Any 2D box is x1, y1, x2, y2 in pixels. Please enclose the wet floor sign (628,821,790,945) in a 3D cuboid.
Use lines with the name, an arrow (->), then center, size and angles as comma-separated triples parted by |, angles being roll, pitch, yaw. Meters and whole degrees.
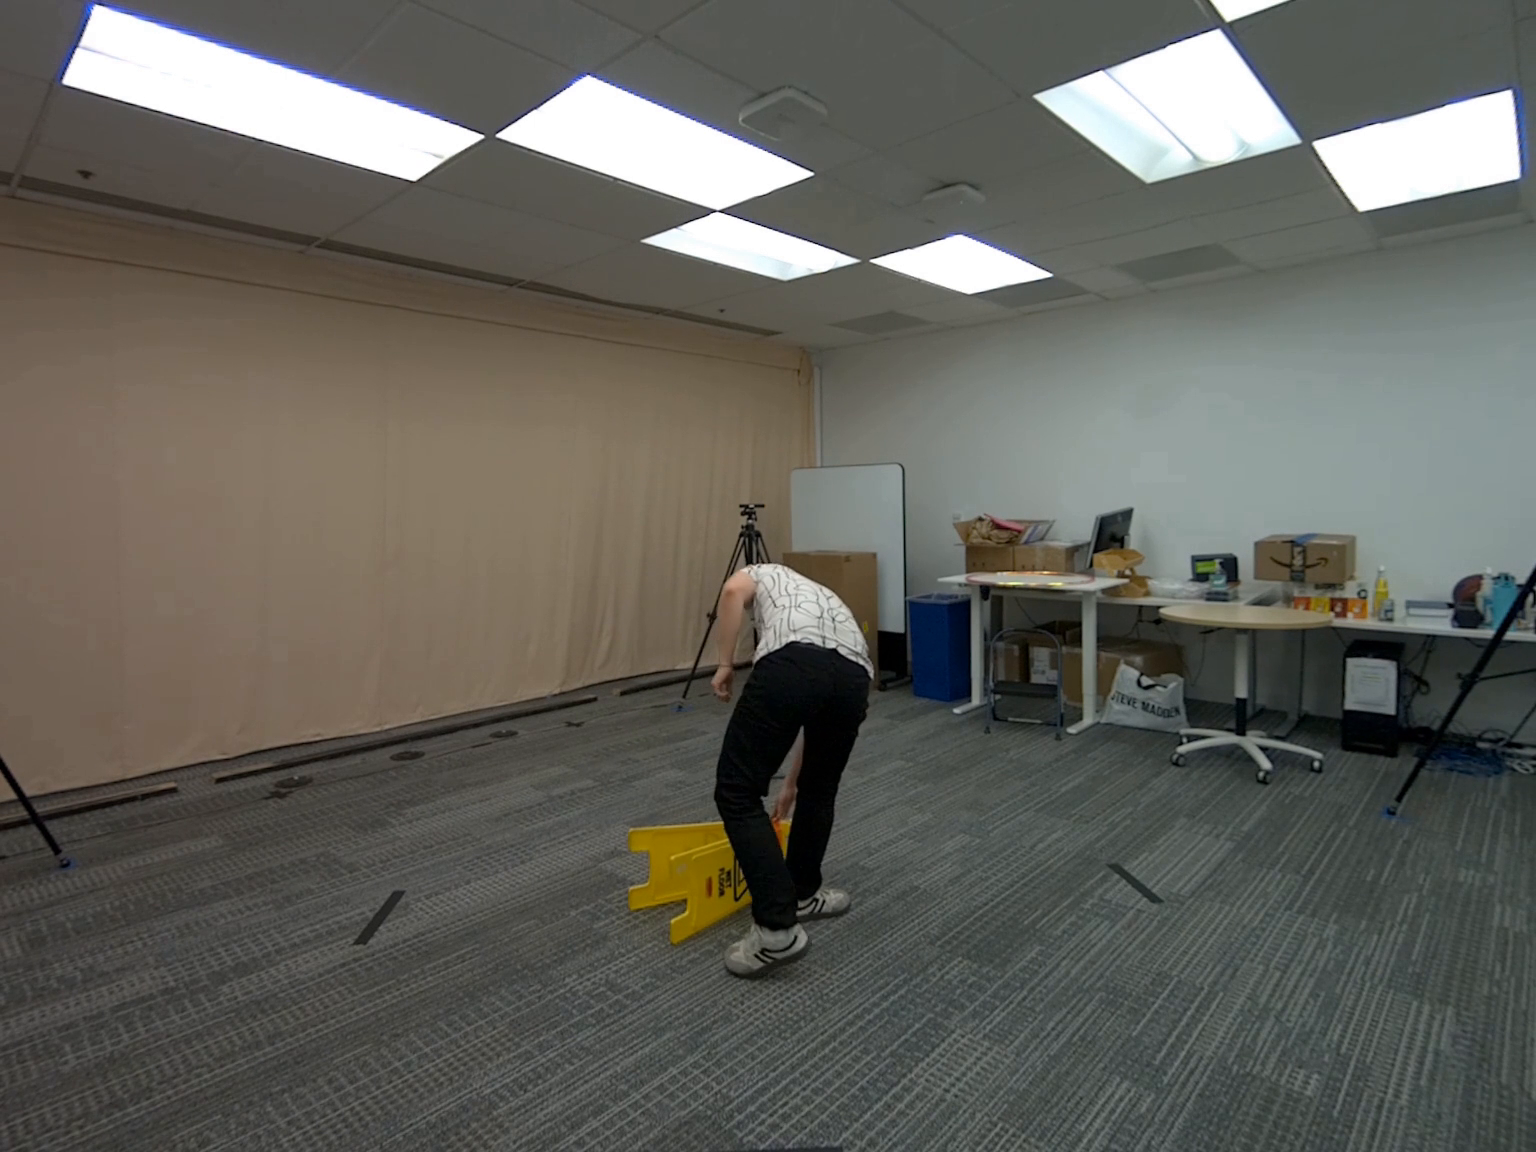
wet floor sign -> -0.136, 1.013, 2.965 | 0.627, 0.282, 0.299 | -2, 4, -35
